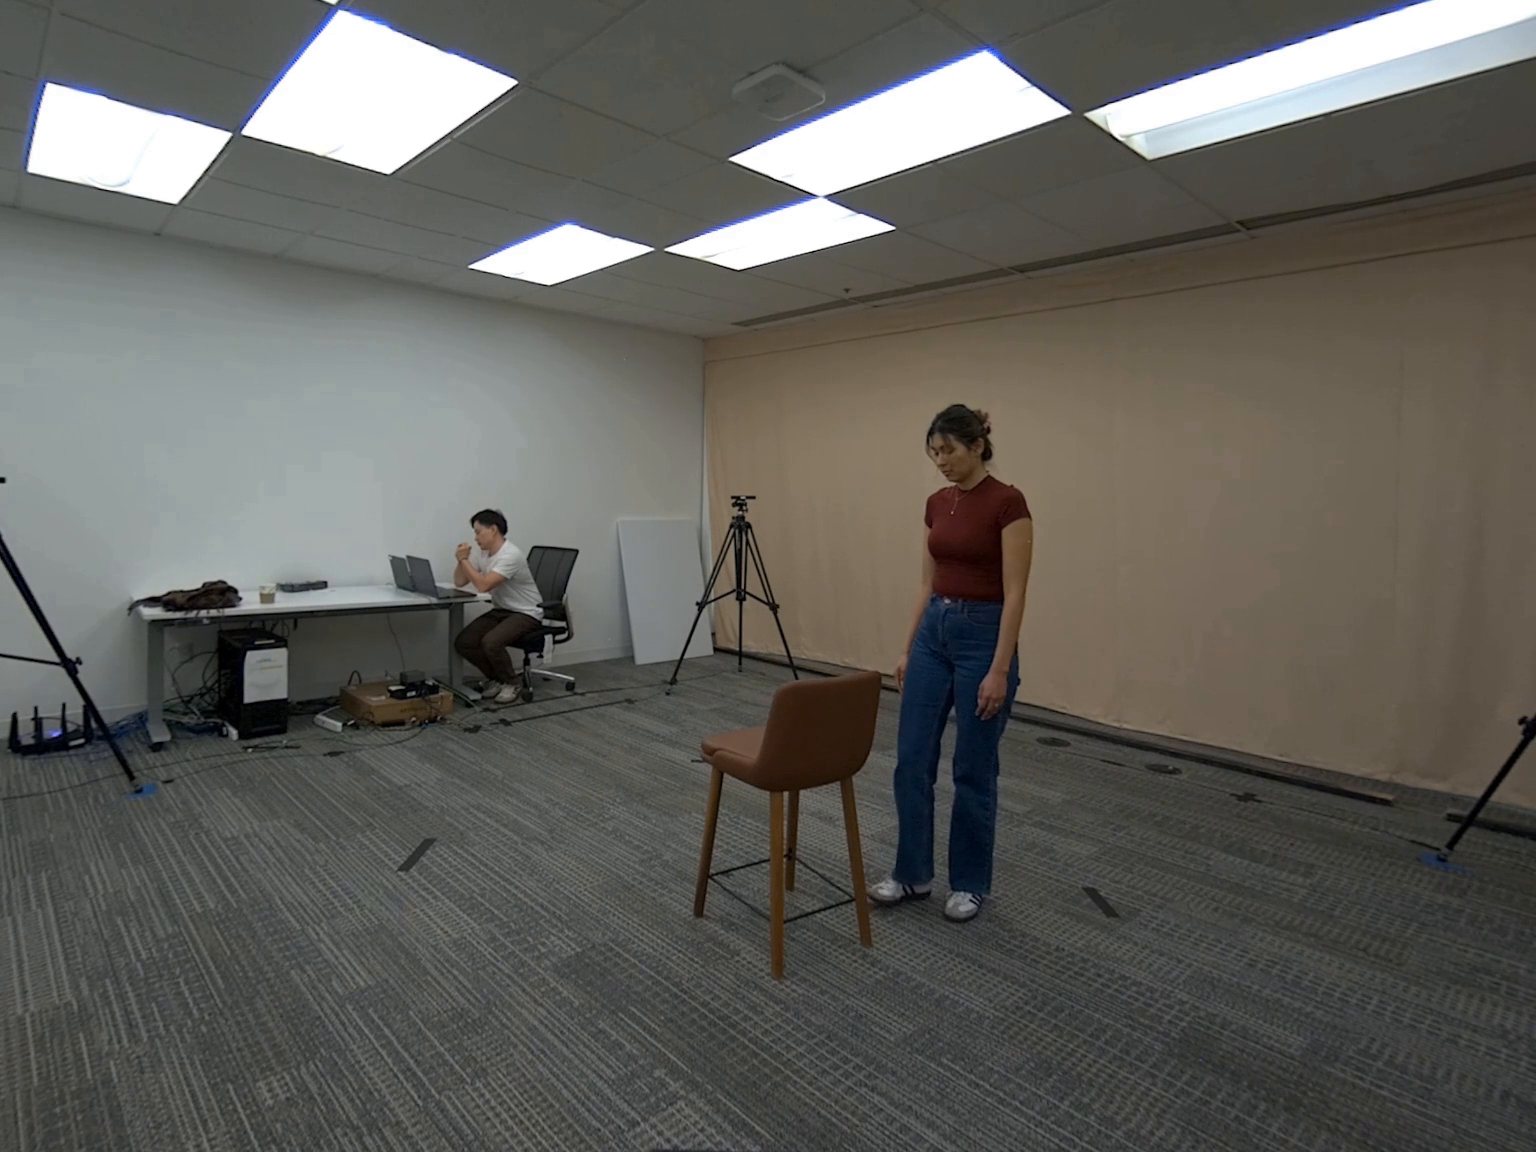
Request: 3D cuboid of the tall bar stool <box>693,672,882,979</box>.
[{"bbox_3d":[0.055,0.709,2.682,0.446,0.887,0.479,-1,6,-35],"label":"tall bar stool"}]
